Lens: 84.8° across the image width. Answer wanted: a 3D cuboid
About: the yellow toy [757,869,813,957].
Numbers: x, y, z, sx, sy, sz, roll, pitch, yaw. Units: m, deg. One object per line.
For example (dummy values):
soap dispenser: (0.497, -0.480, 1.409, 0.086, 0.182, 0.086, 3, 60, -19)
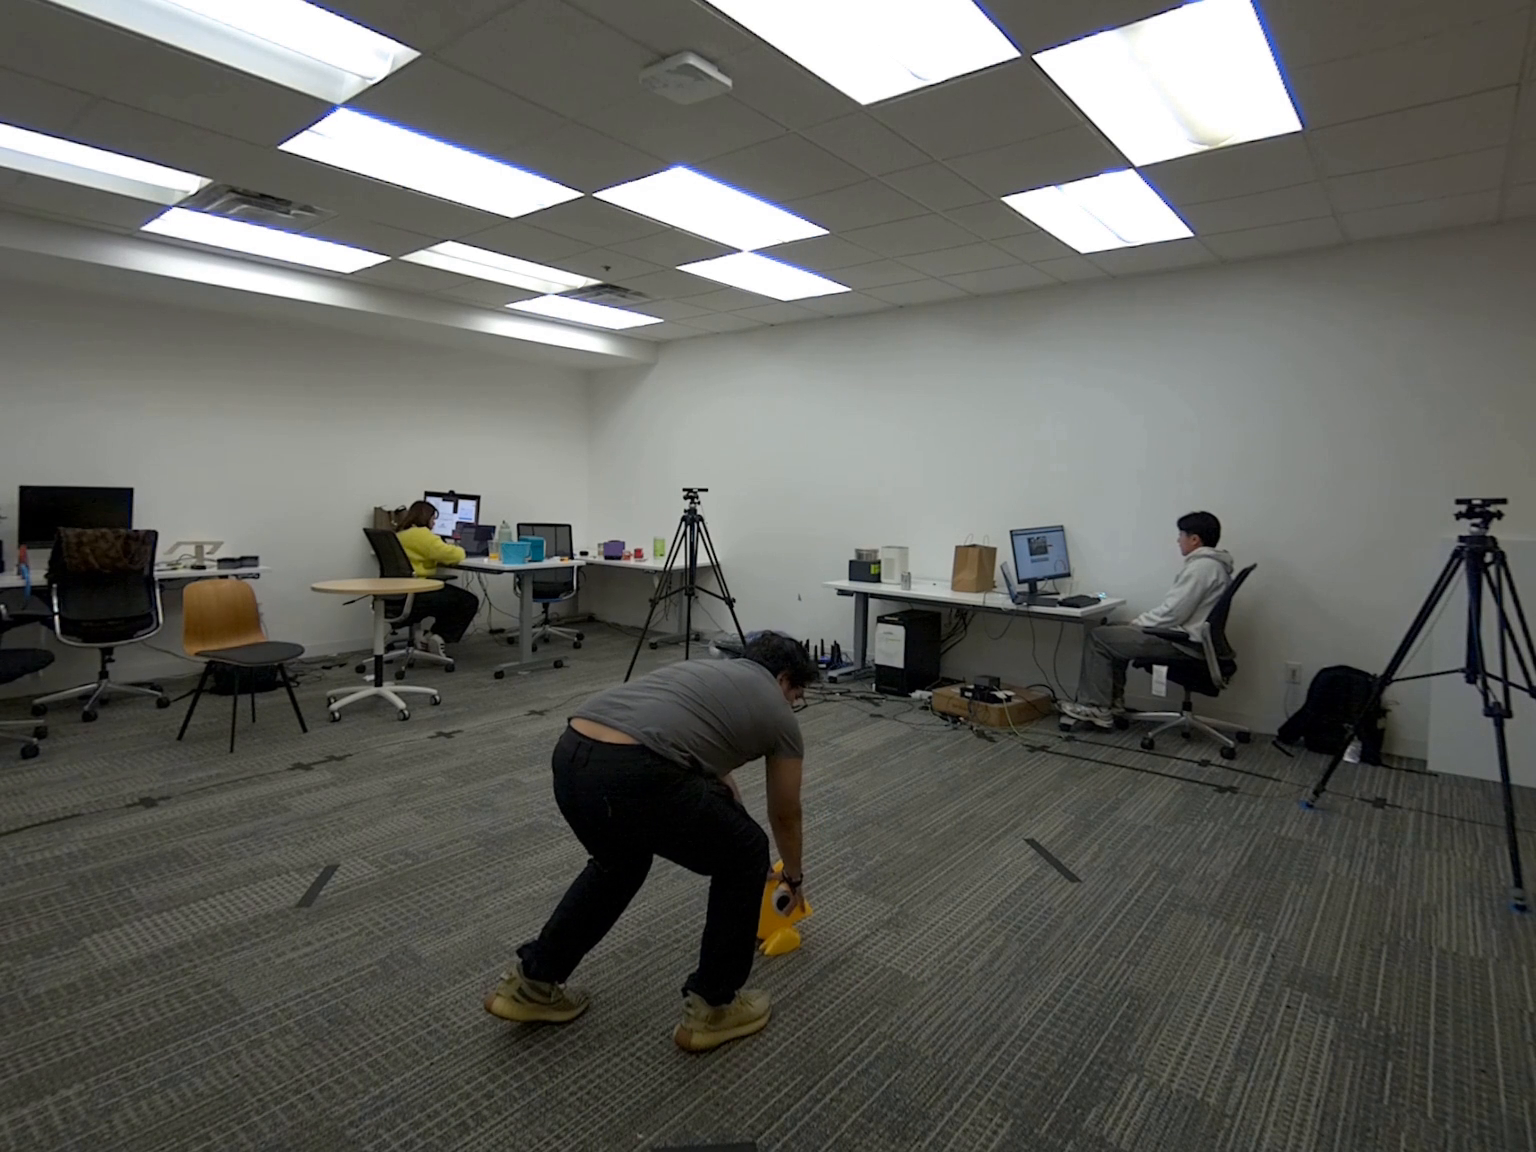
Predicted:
yellow toy: (-0.004, 1.007, 2.640, 0.212, 0.230, 0.187, 4, 6, 44)
